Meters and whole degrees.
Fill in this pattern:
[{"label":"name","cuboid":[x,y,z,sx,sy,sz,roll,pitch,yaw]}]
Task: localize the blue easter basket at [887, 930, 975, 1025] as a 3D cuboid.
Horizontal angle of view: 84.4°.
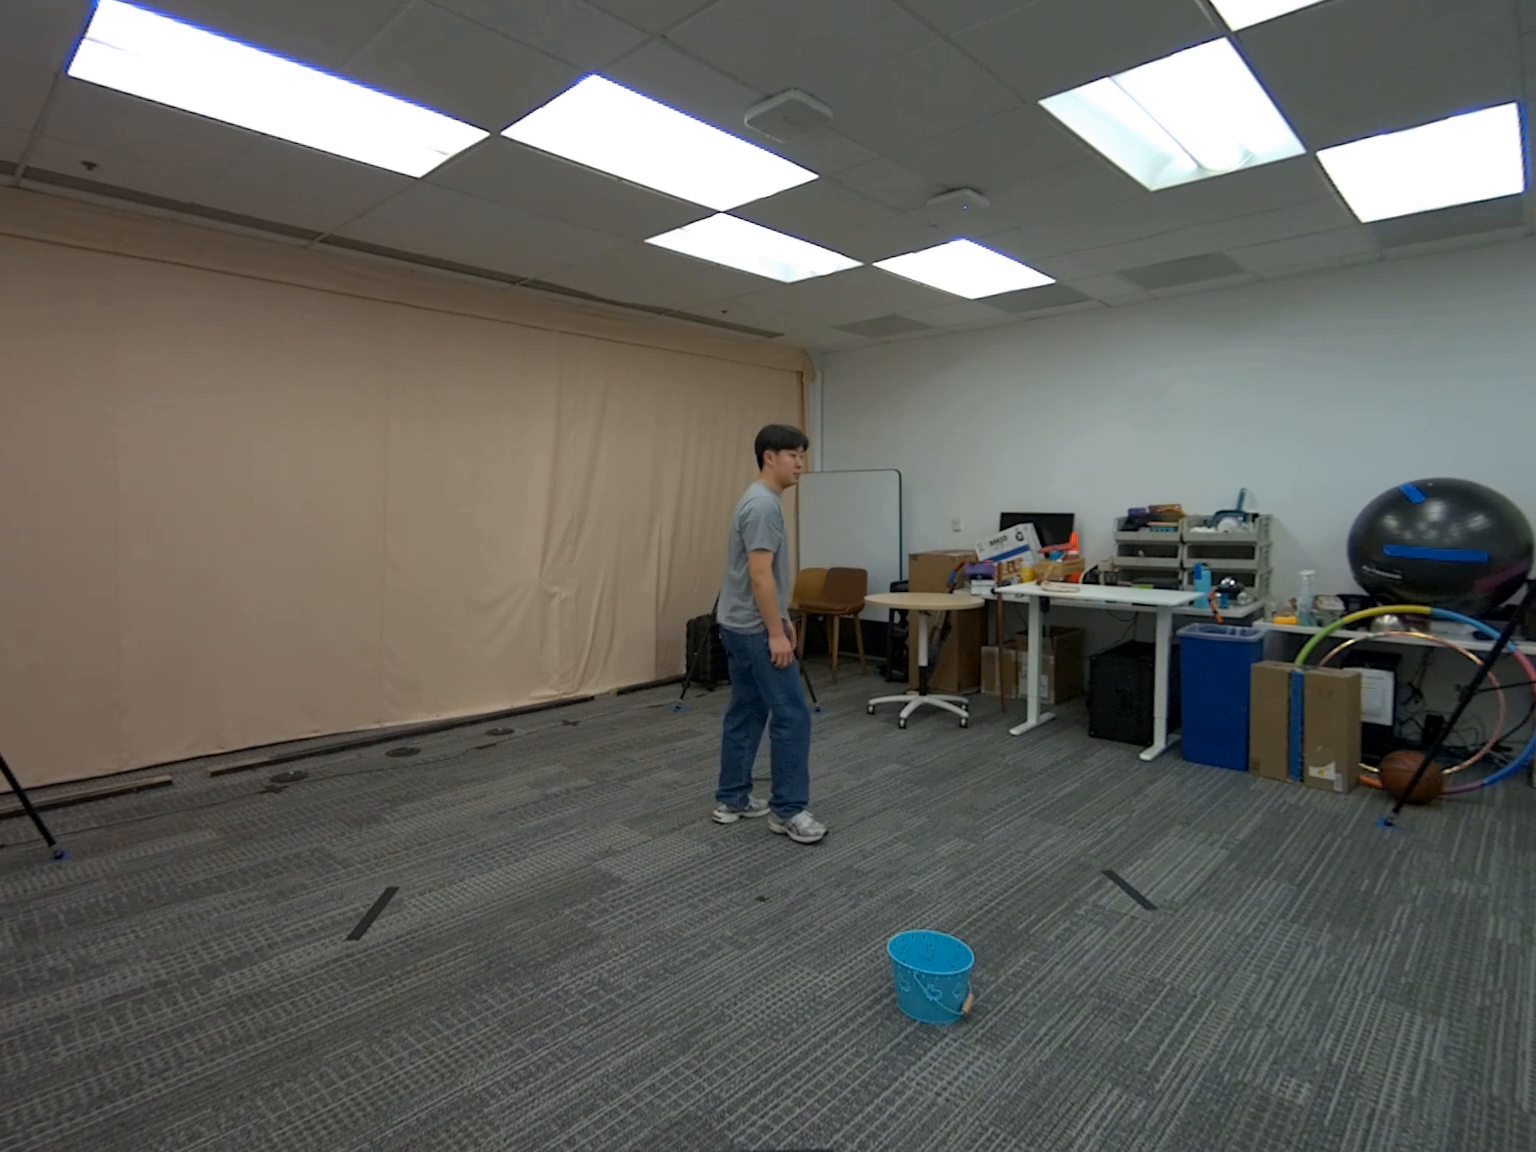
[{"label":"blue easter basket","cuboid":[0.459,1.118,2.339,0.243,0.155,0.244,0,4,-2]}]
